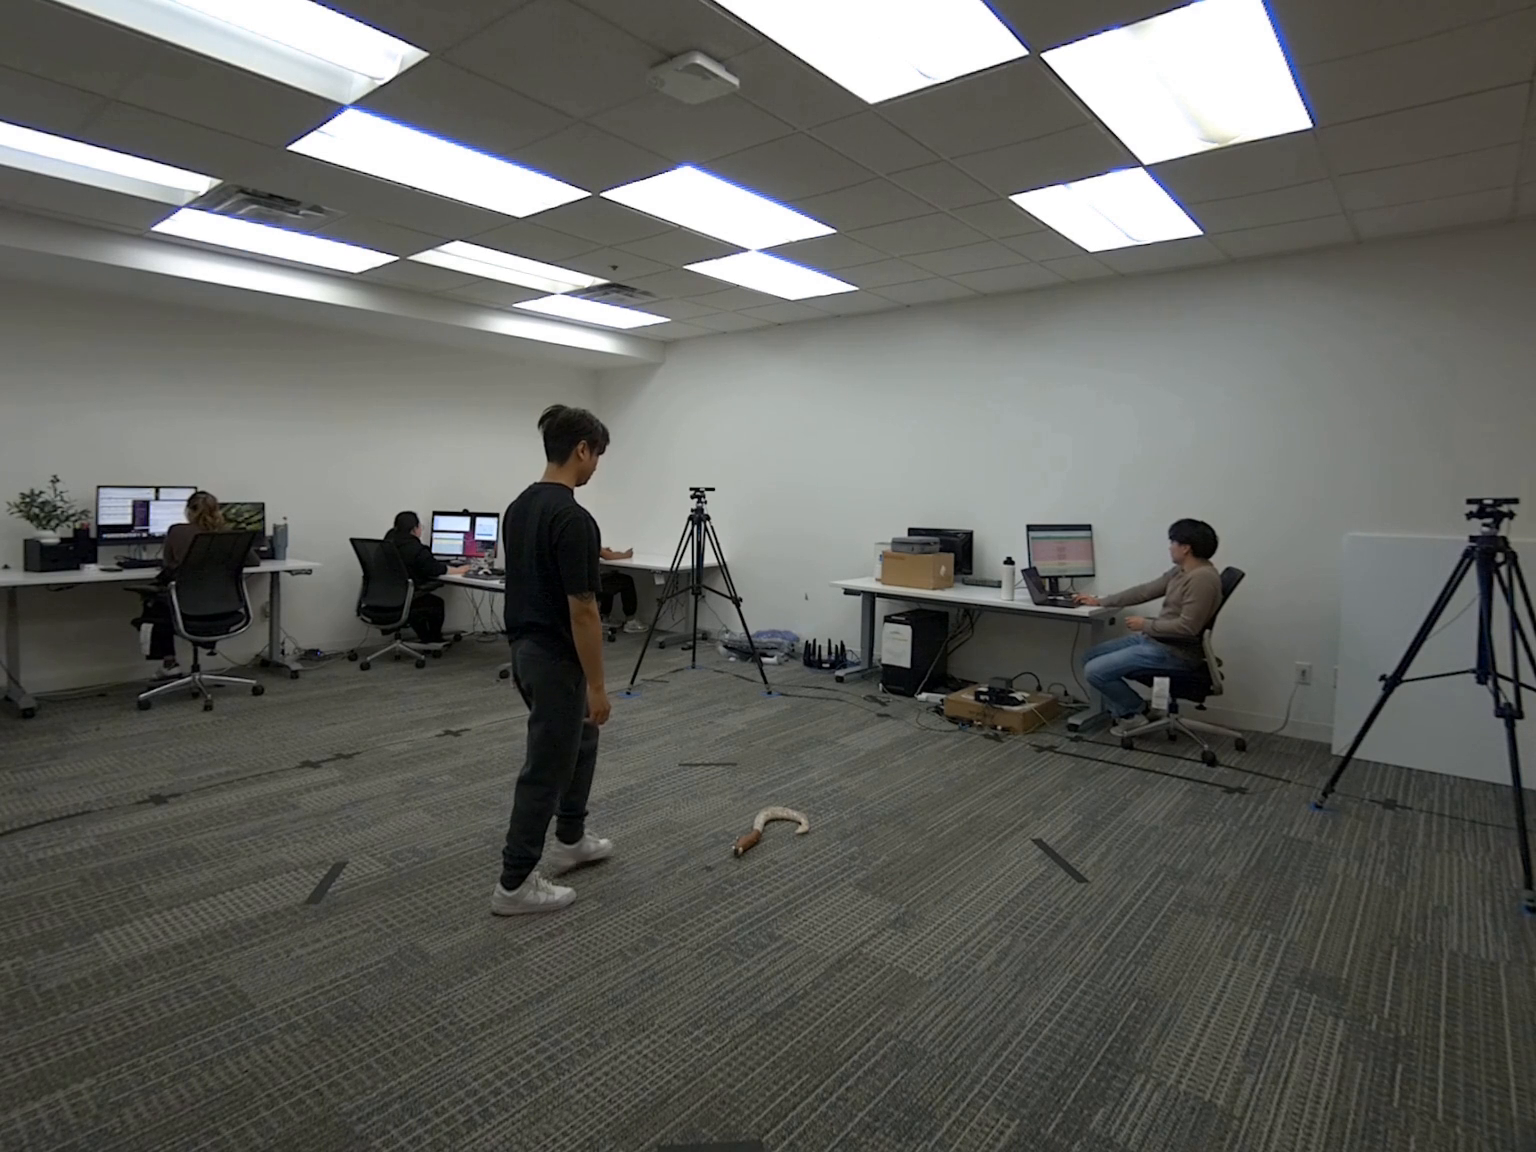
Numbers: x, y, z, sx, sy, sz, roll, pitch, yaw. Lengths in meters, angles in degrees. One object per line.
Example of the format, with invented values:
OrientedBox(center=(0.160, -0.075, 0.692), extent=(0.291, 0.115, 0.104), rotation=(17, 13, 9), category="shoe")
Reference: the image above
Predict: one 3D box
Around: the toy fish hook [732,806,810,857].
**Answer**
OrientedBox(center=(0.009, 1.020, 3.400), extent=(0.230, 0.048, 0.496), rotation=(3, 6, 23), category="toy fish hook")
